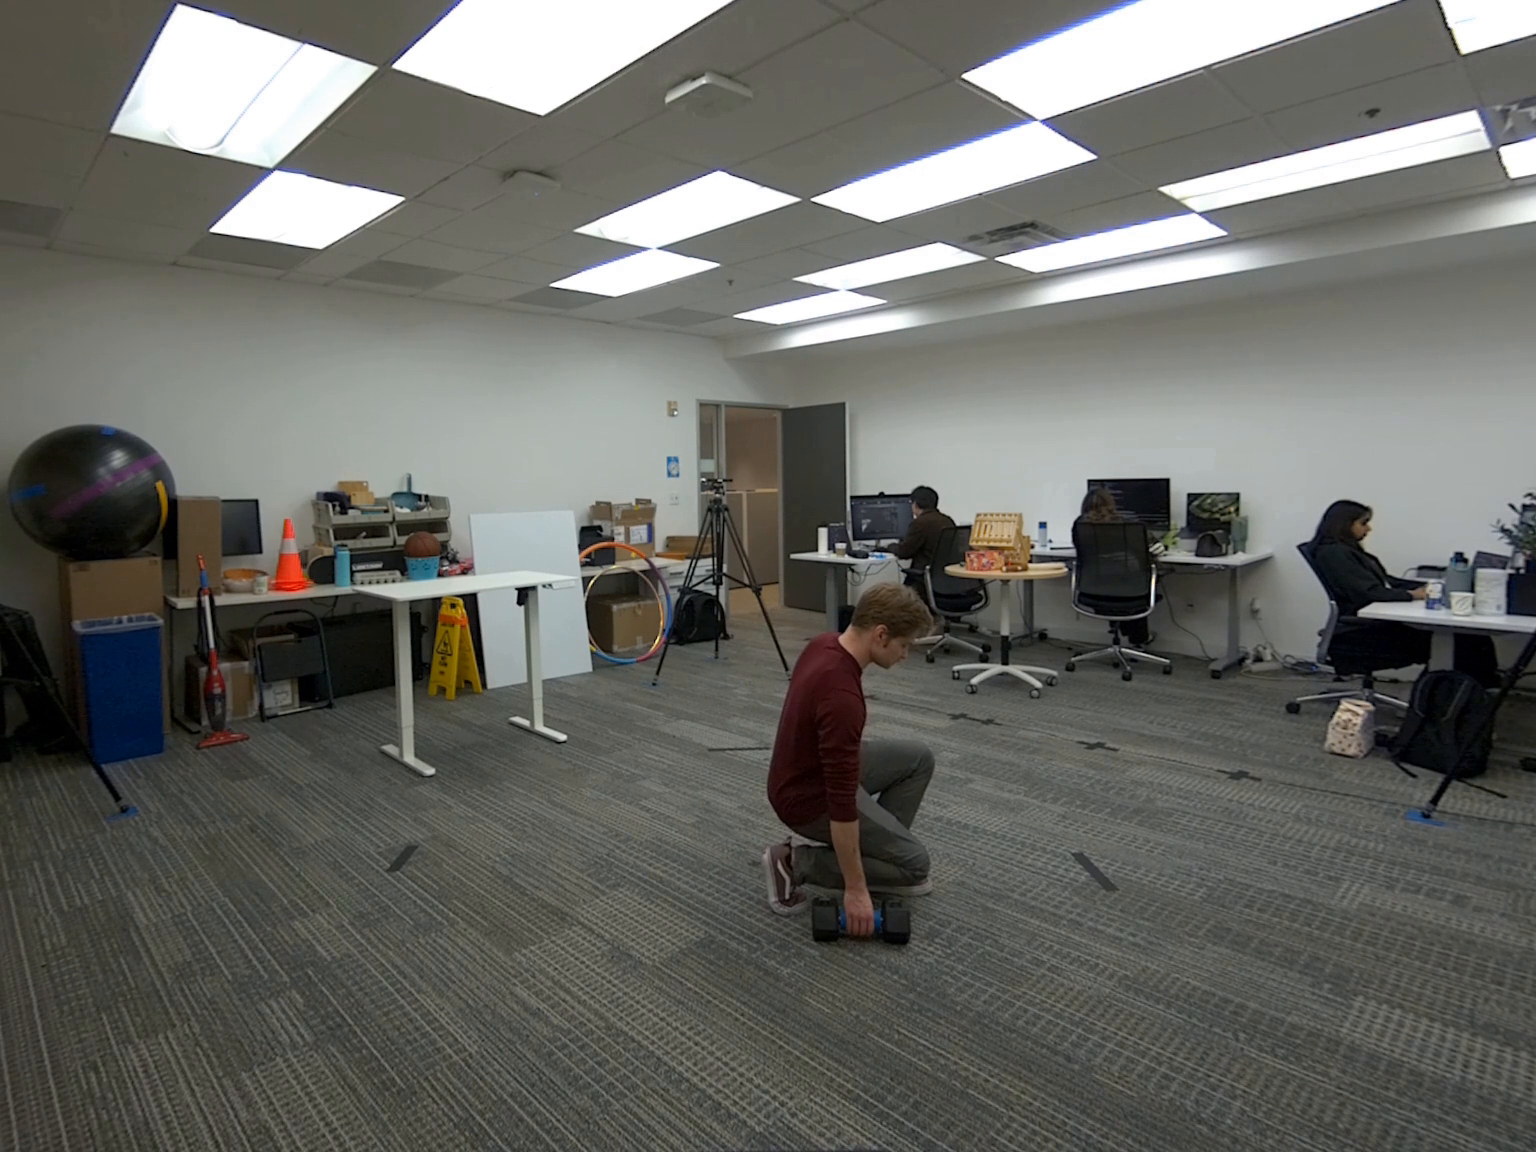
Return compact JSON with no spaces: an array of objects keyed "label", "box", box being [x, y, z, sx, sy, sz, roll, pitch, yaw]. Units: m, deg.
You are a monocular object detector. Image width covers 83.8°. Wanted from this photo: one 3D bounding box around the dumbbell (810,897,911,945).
[{"label":"dumbbell","box":[0.278,1.045,2.595,0.295,0.125,0.106,-2,-26,5]}]
